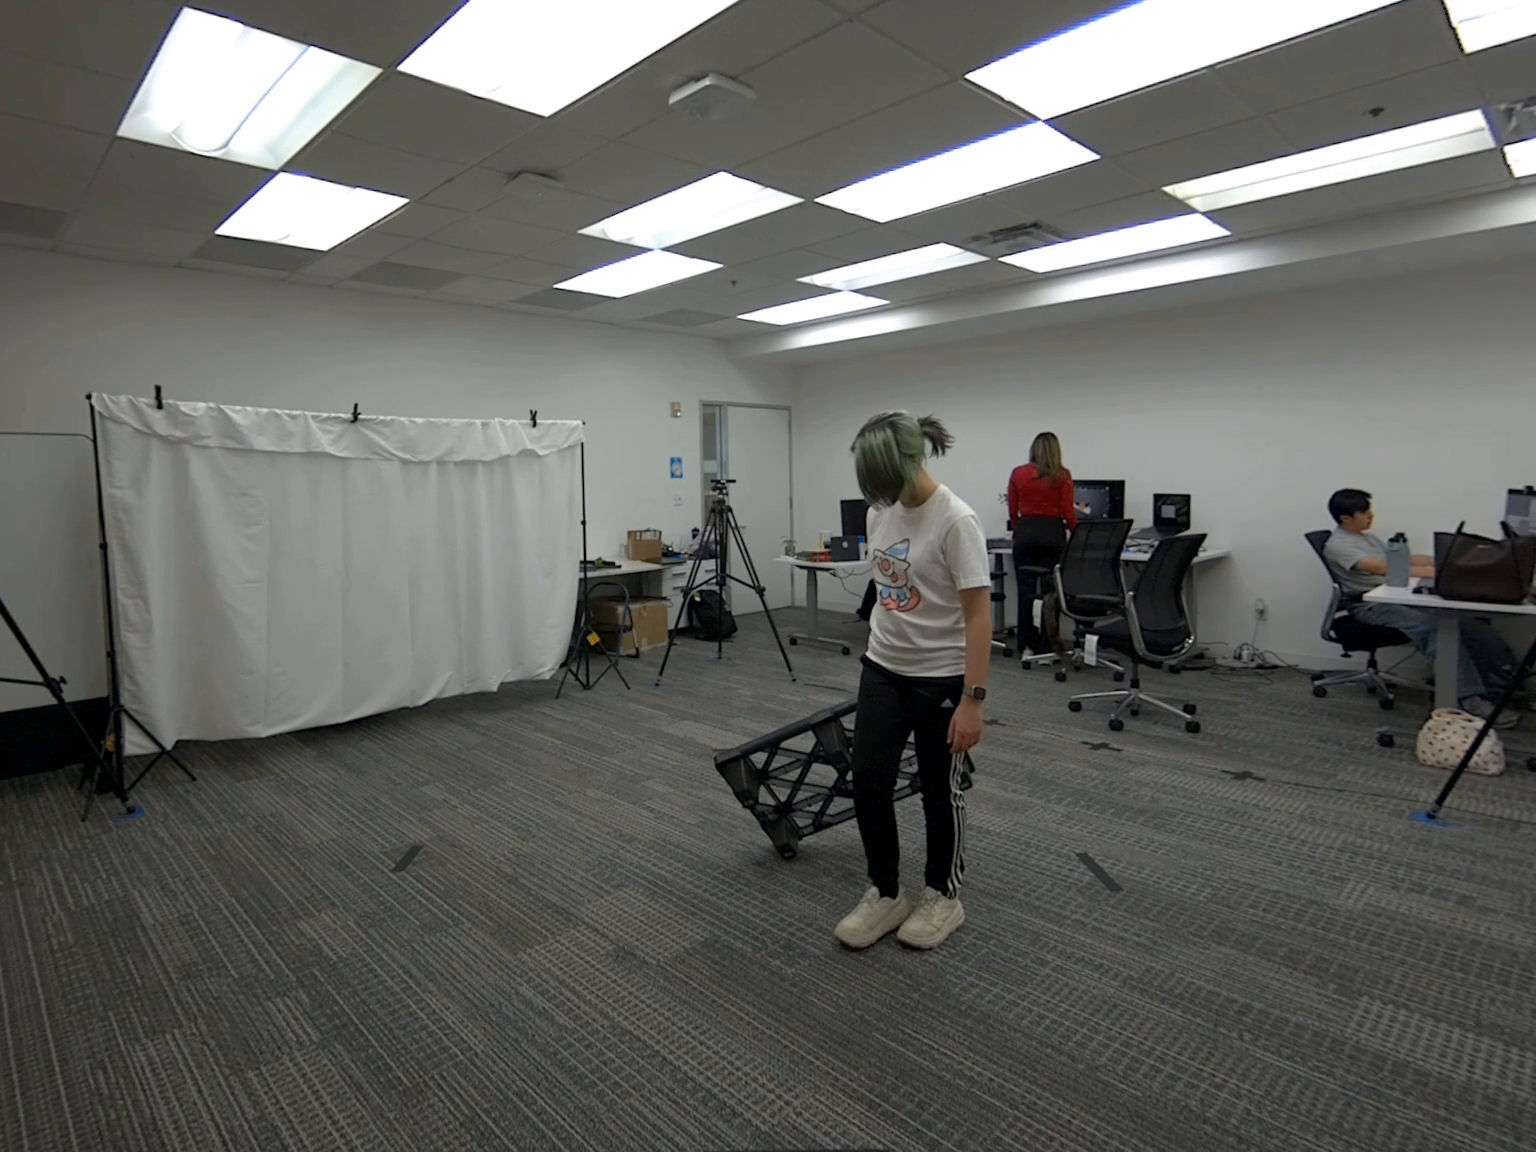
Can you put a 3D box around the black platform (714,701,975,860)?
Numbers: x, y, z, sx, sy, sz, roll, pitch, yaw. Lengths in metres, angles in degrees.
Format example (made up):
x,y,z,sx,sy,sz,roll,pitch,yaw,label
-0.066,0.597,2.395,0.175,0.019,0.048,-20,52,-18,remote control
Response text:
x,y,z,sx,sy,sz,roll,pitch,yaw,label
0.293,0.703,2.995,0.809,0.583,0.148,-23,37,8,black platform
